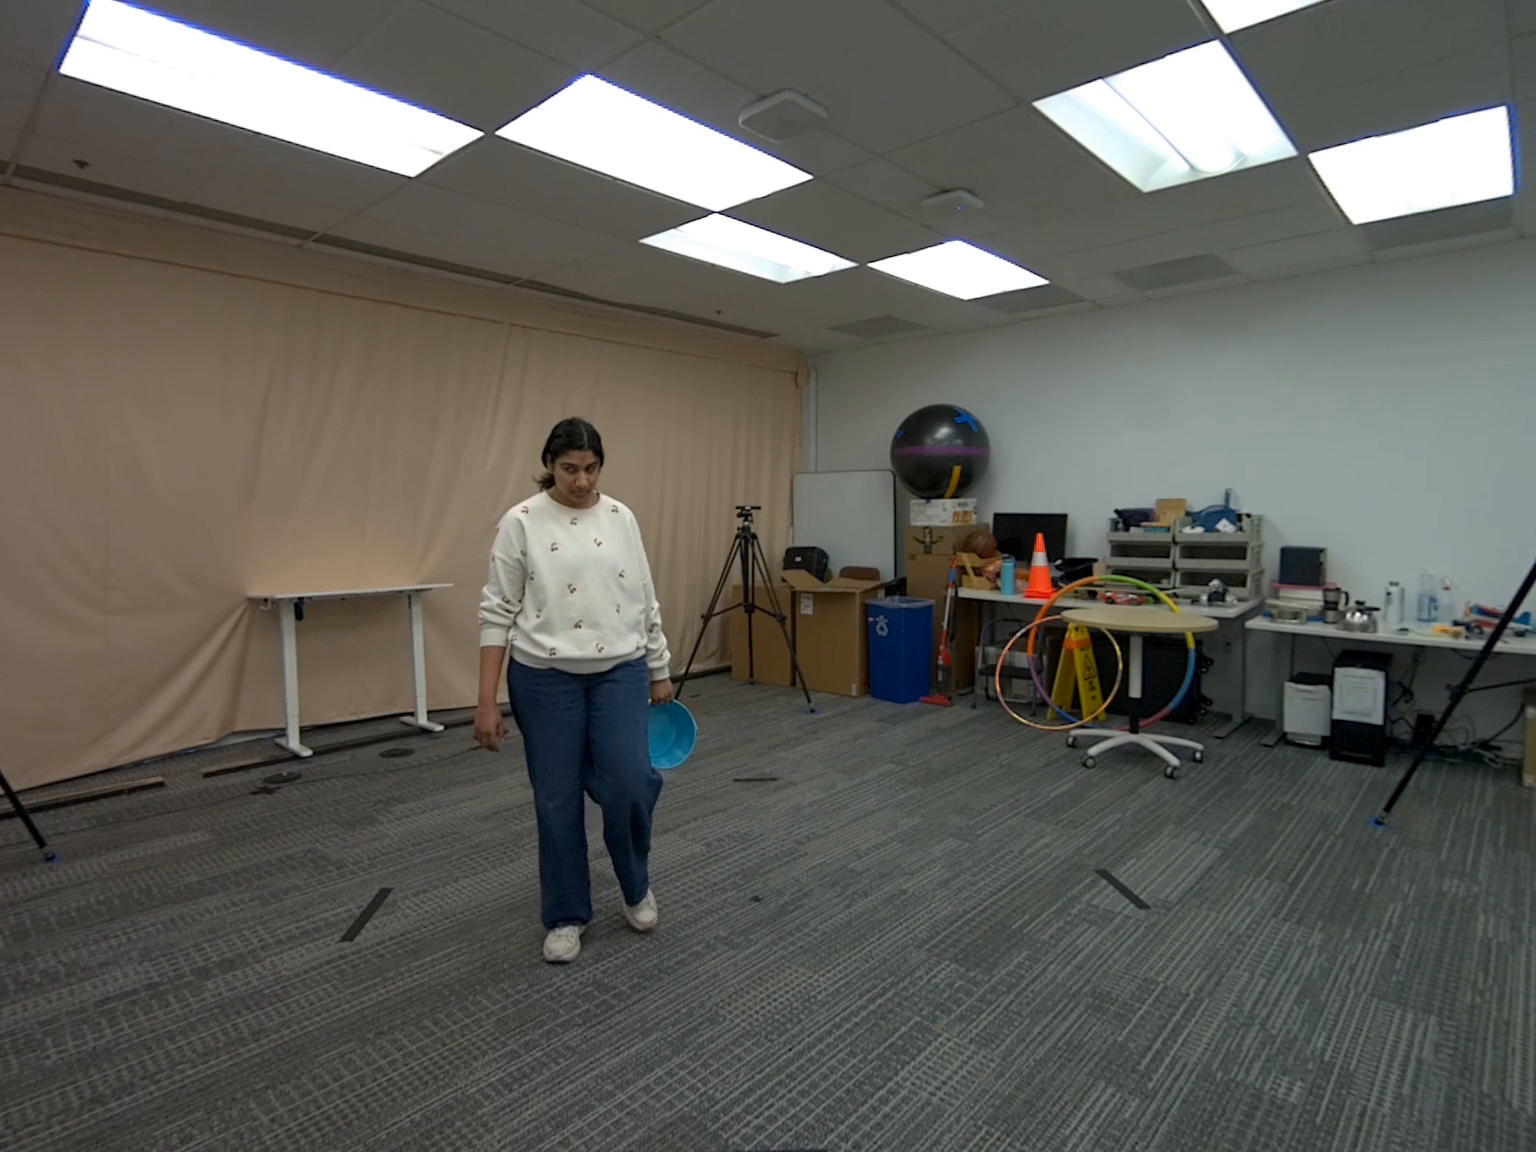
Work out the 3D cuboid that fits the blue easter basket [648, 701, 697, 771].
[{"bbox_3d":[-0.361,0.547,2.927,0.239,0.245,0.157,-1,-9,-17],"label":"blue easter basket"}]
